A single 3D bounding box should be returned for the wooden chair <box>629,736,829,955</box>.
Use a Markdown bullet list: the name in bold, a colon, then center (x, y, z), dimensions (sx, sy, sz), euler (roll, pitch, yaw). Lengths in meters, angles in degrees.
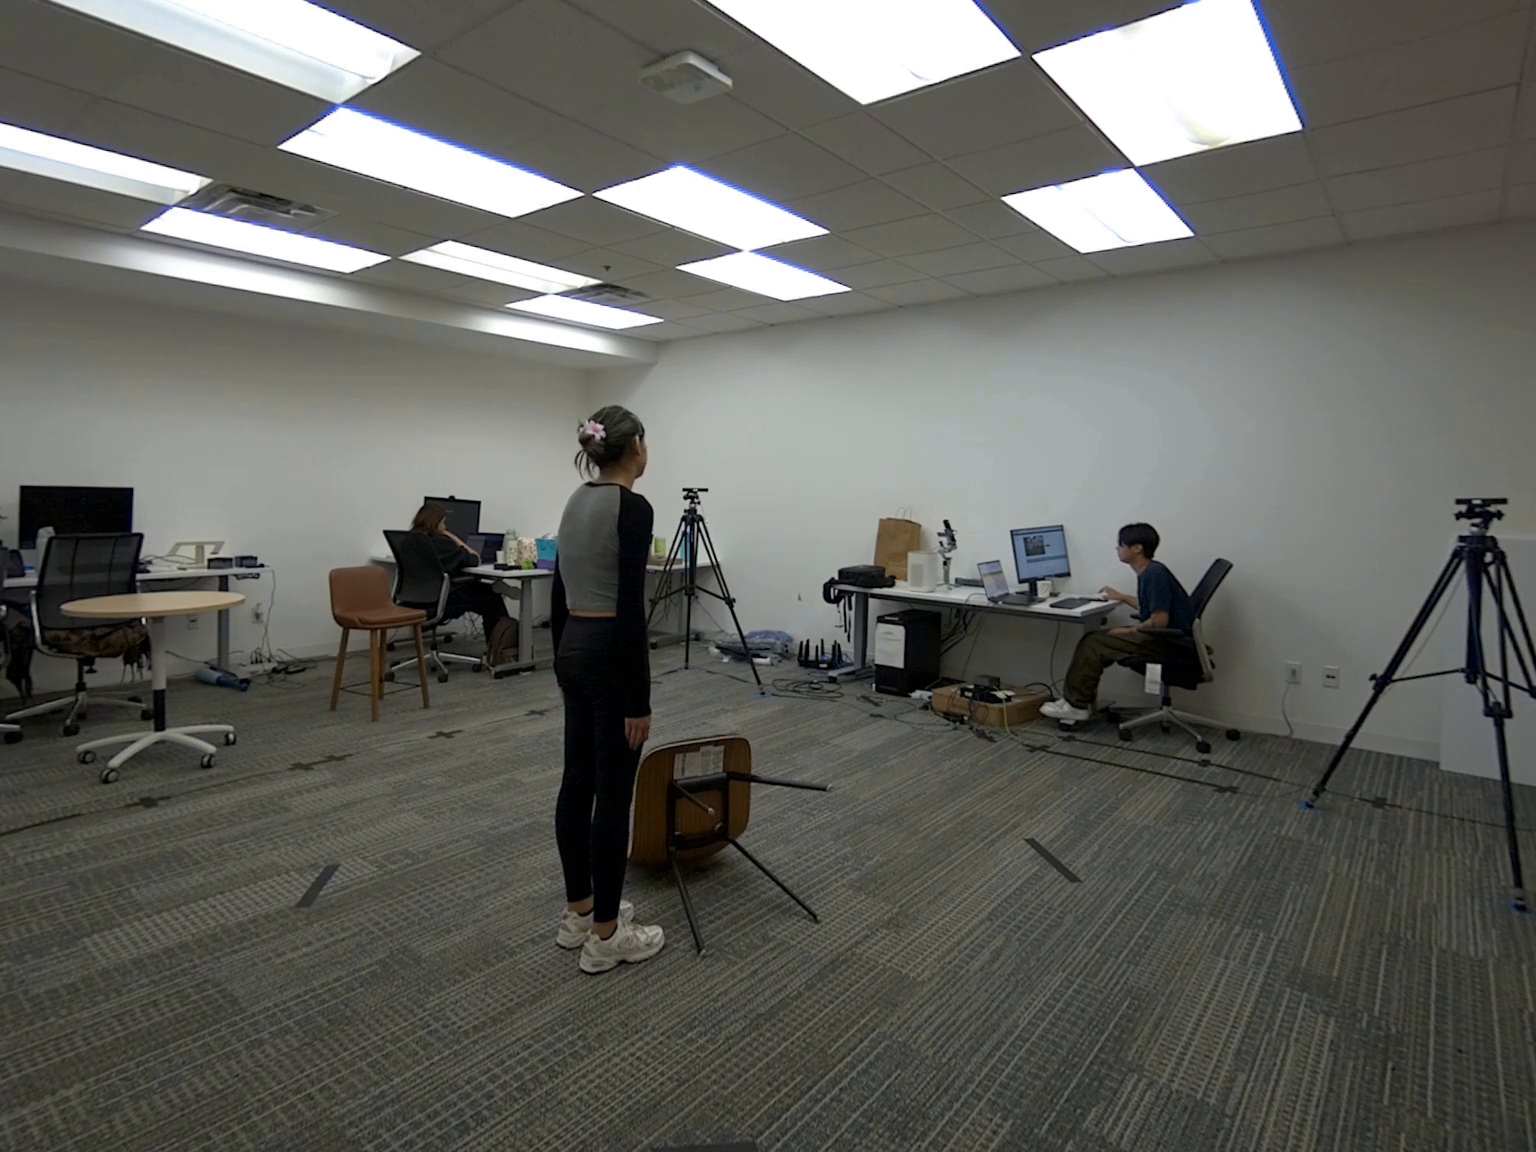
- **wooden chair**: center (-0.248, 0.820, 2.972), dimensions (0.465, 0.522, 0.904), euler (-1, 4, -33)
